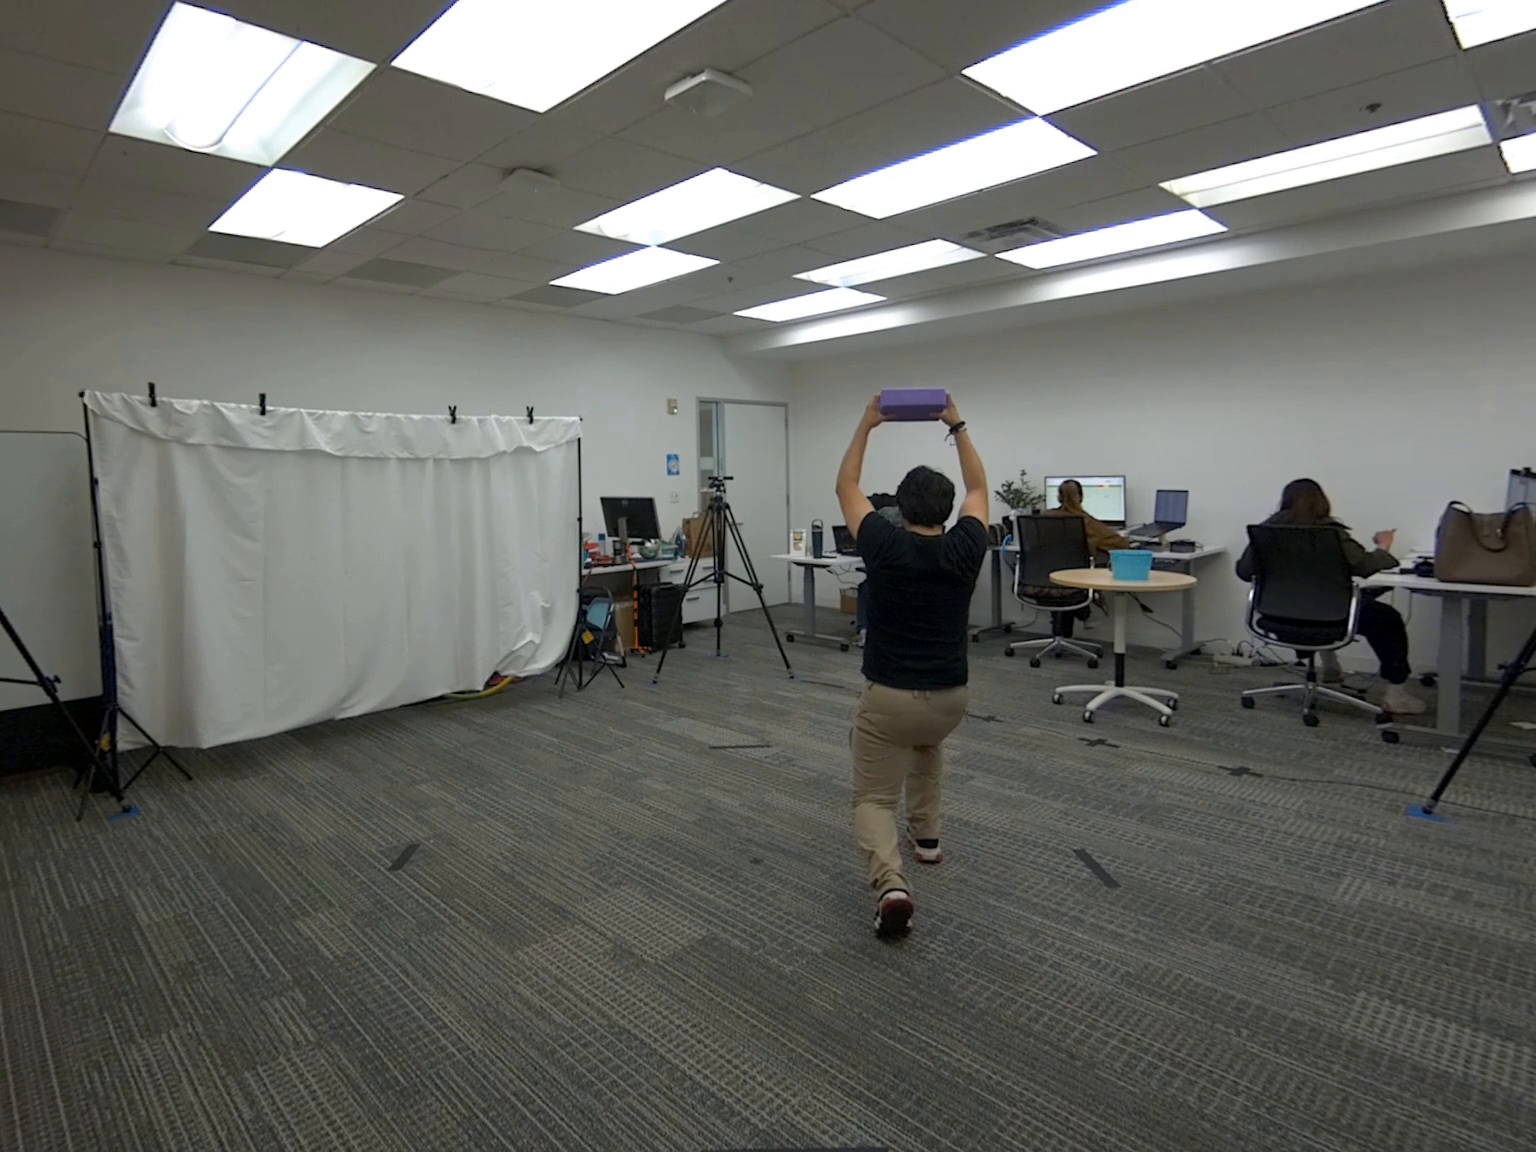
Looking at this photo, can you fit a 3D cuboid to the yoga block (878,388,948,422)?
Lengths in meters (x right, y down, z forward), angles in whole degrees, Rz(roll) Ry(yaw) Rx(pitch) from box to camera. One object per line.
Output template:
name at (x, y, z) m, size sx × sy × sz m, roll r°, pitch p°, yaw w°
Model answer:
yoga block at (0.532, -0.631, 3.131) m, size 0.230 × 0.077 × 0.147 m, roll 0°, pitch -13°, yaw 2°
